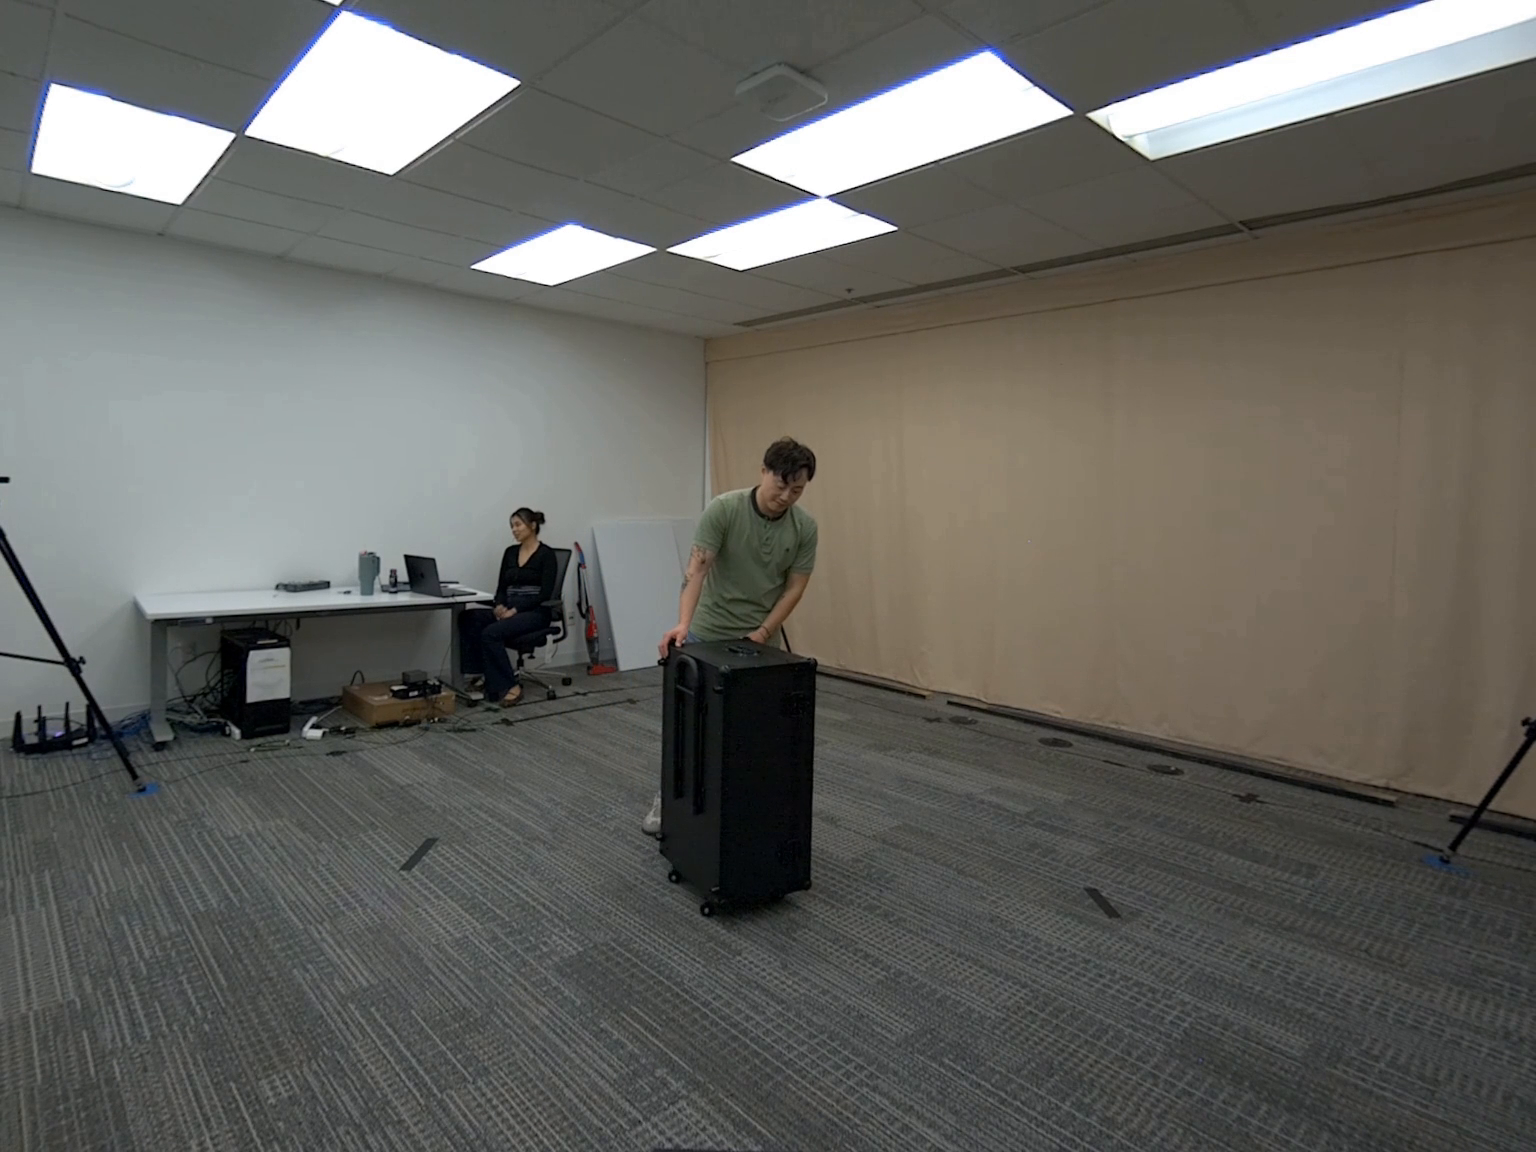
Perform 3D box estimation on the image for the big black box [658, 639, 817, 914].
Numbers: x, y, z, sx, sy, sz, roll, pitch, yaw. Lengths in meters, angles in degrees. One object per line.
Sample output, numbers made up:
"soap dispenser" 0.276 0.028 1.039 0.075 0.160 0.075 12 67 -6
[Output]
"big black box" -0.129 0.695 2.947 0.388 0.859 0.533 -2 4 -30
